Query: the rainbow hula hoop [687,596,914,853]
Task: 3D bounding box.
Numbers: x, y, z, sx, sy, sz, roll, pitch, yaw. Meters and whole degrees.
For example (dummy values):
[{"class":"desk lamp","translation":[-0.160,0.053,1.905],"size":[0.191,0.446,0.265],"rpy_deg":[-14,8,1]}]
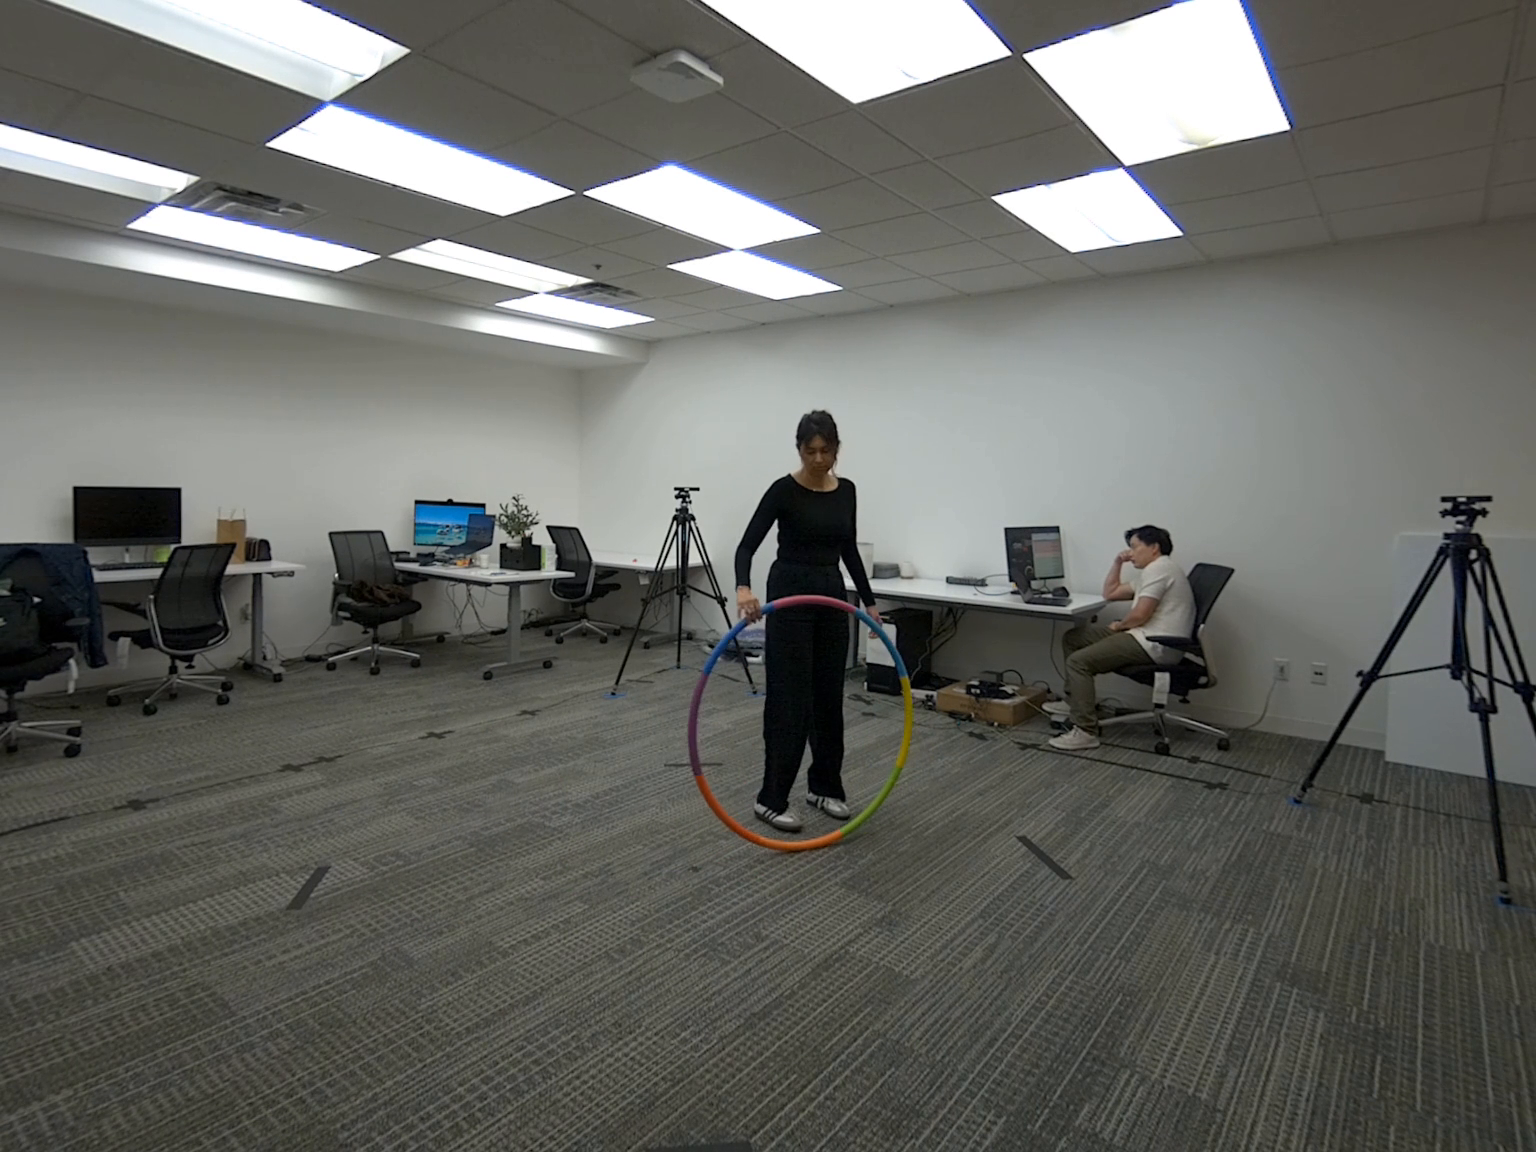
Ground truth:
[{"class":"rainbow hula hoop","translation":[0.139,0.565,3.303],"size":[0.956,0.979,0.036],"rpy_deg":[-1,-1,-24]}]
